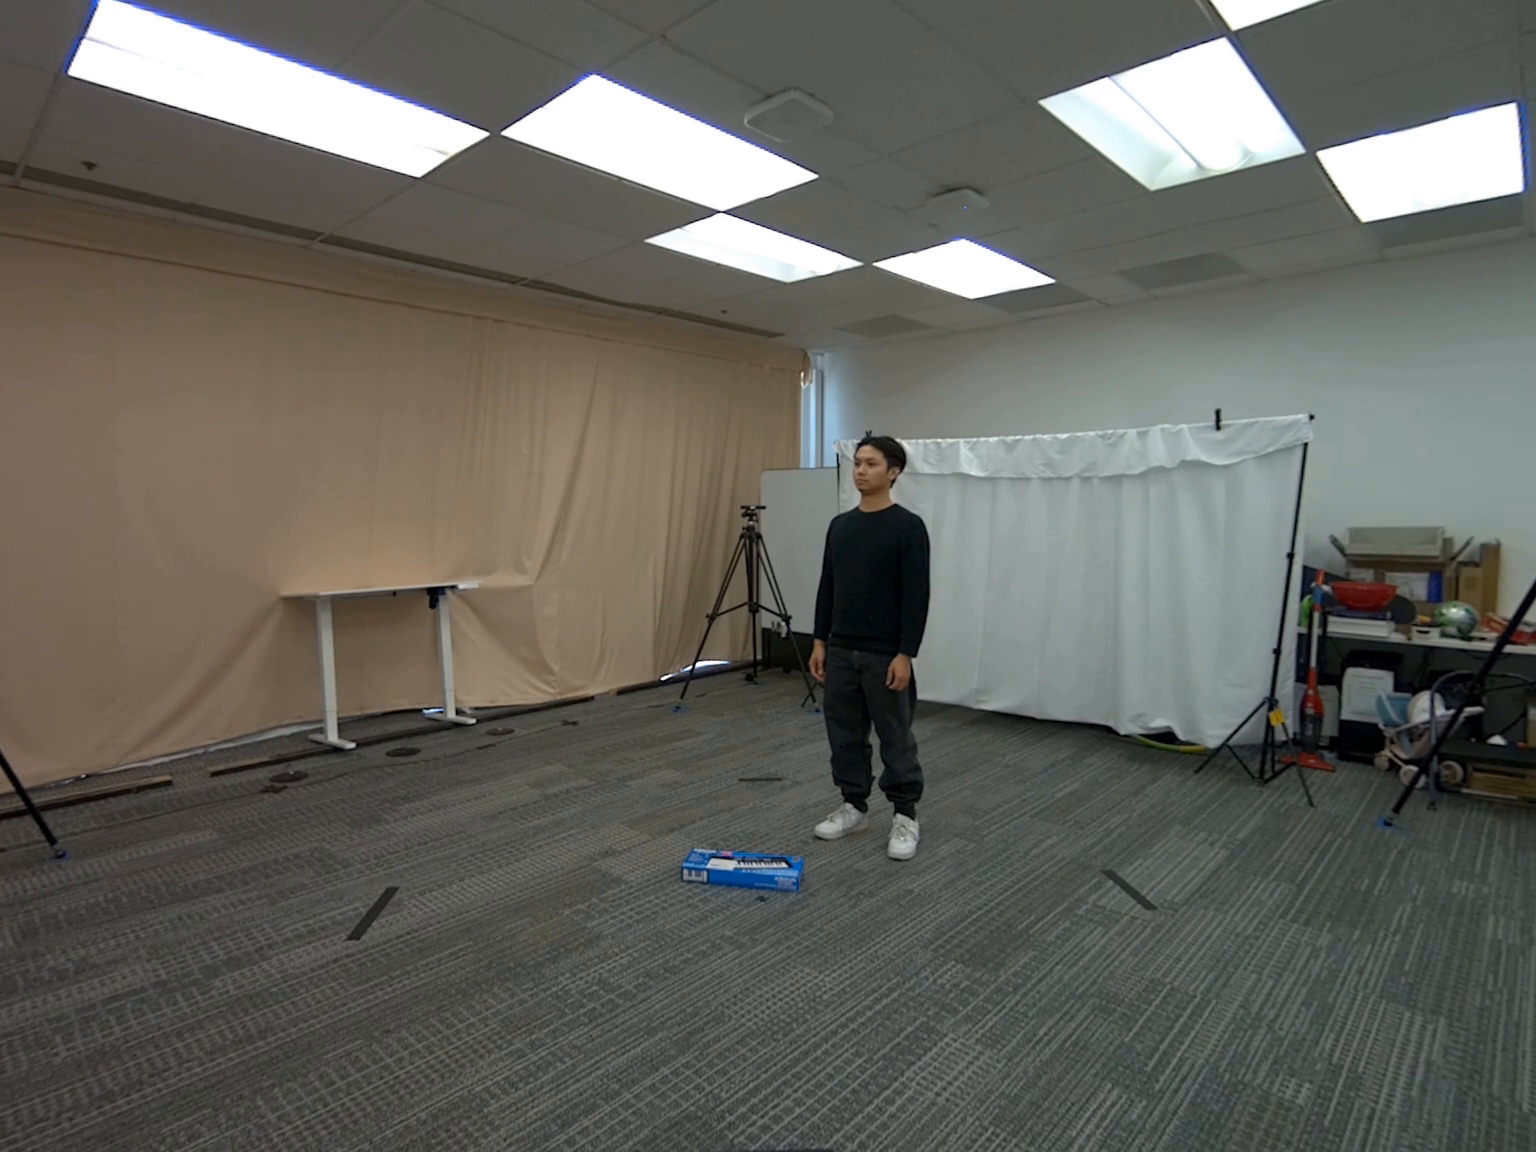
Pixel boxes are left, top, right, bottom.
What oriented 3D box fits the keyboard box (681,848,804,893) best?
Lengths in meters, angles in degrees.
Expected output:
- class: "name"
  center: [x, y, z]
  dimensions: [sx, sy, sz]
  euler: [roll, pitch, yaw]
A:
- class: "keyboard box"
  center: [-0.091, 1.098, 3.154]
  dimensions: [0.443, 0.059, 0.174]
  euler: [0, 5, 12]
